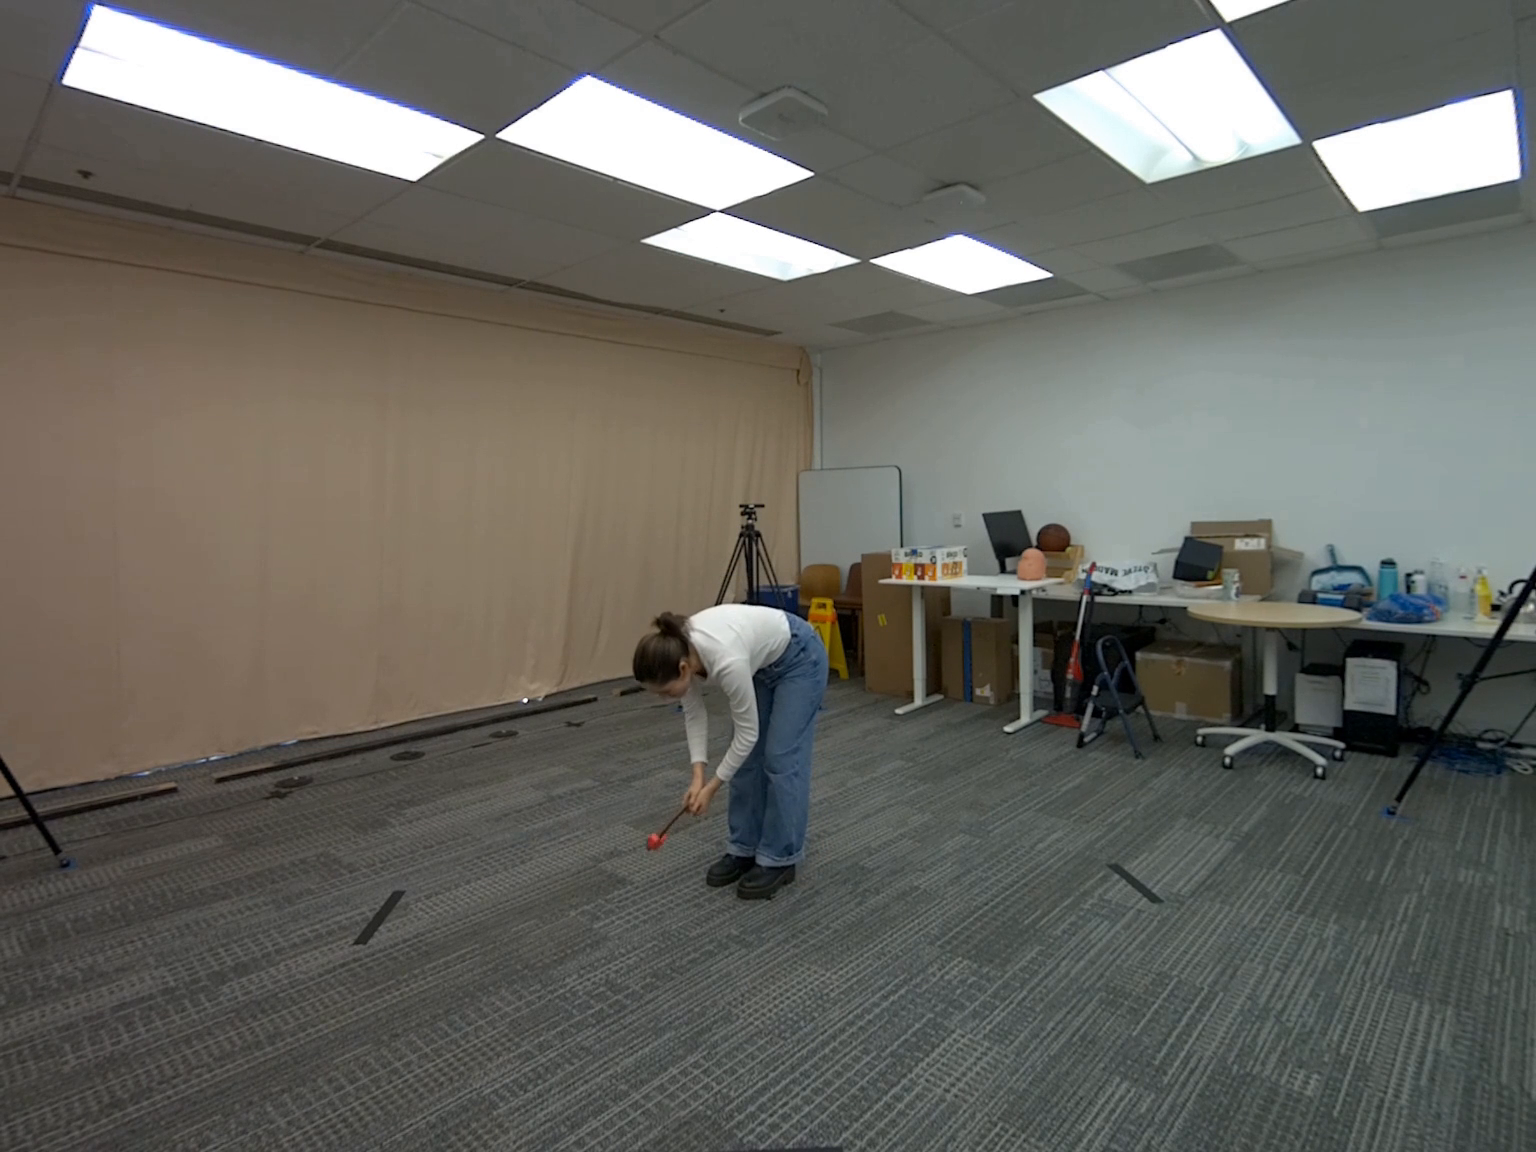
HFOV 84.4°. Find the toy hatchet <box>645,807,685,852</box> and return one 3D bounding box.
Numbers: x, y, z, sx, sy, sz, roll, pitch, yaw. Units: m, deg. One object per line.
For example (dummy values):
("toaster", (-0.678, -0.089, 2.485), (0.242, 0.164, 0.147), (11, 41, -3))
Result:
("toy hatchet", (-0.328, 0.851, 2.908), (0.030, 0.129, 0.266), (36, 49, 26))
